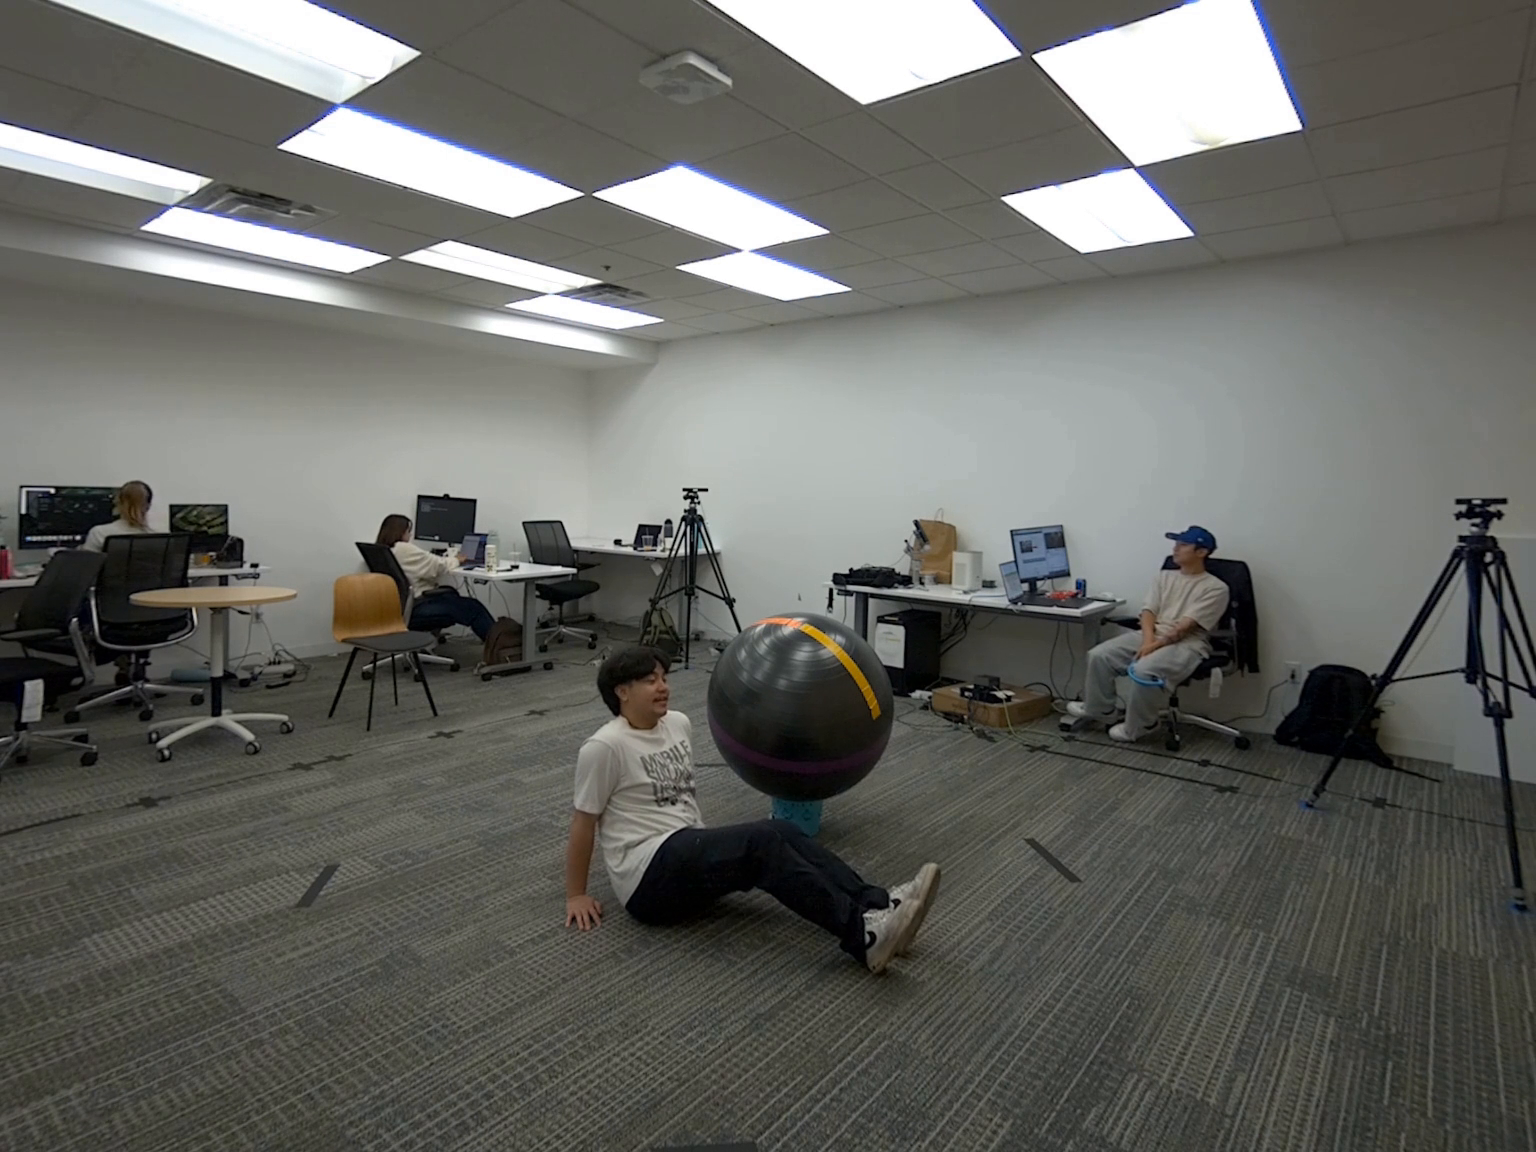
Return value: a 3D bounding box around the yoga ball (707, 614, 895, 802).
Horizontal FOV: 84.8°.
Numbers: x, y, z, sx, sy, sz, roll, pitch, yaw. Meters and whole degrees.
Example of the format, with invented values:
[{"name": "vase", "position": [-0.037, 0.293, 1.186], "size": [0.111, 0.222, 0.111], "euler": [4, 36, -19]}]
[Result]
[{"name": "yoga ball", "position": [0.129, 0.526, 3.485], "size": [0.757, 0.756, 0.761], "euler": [1, 4, -2]}]
